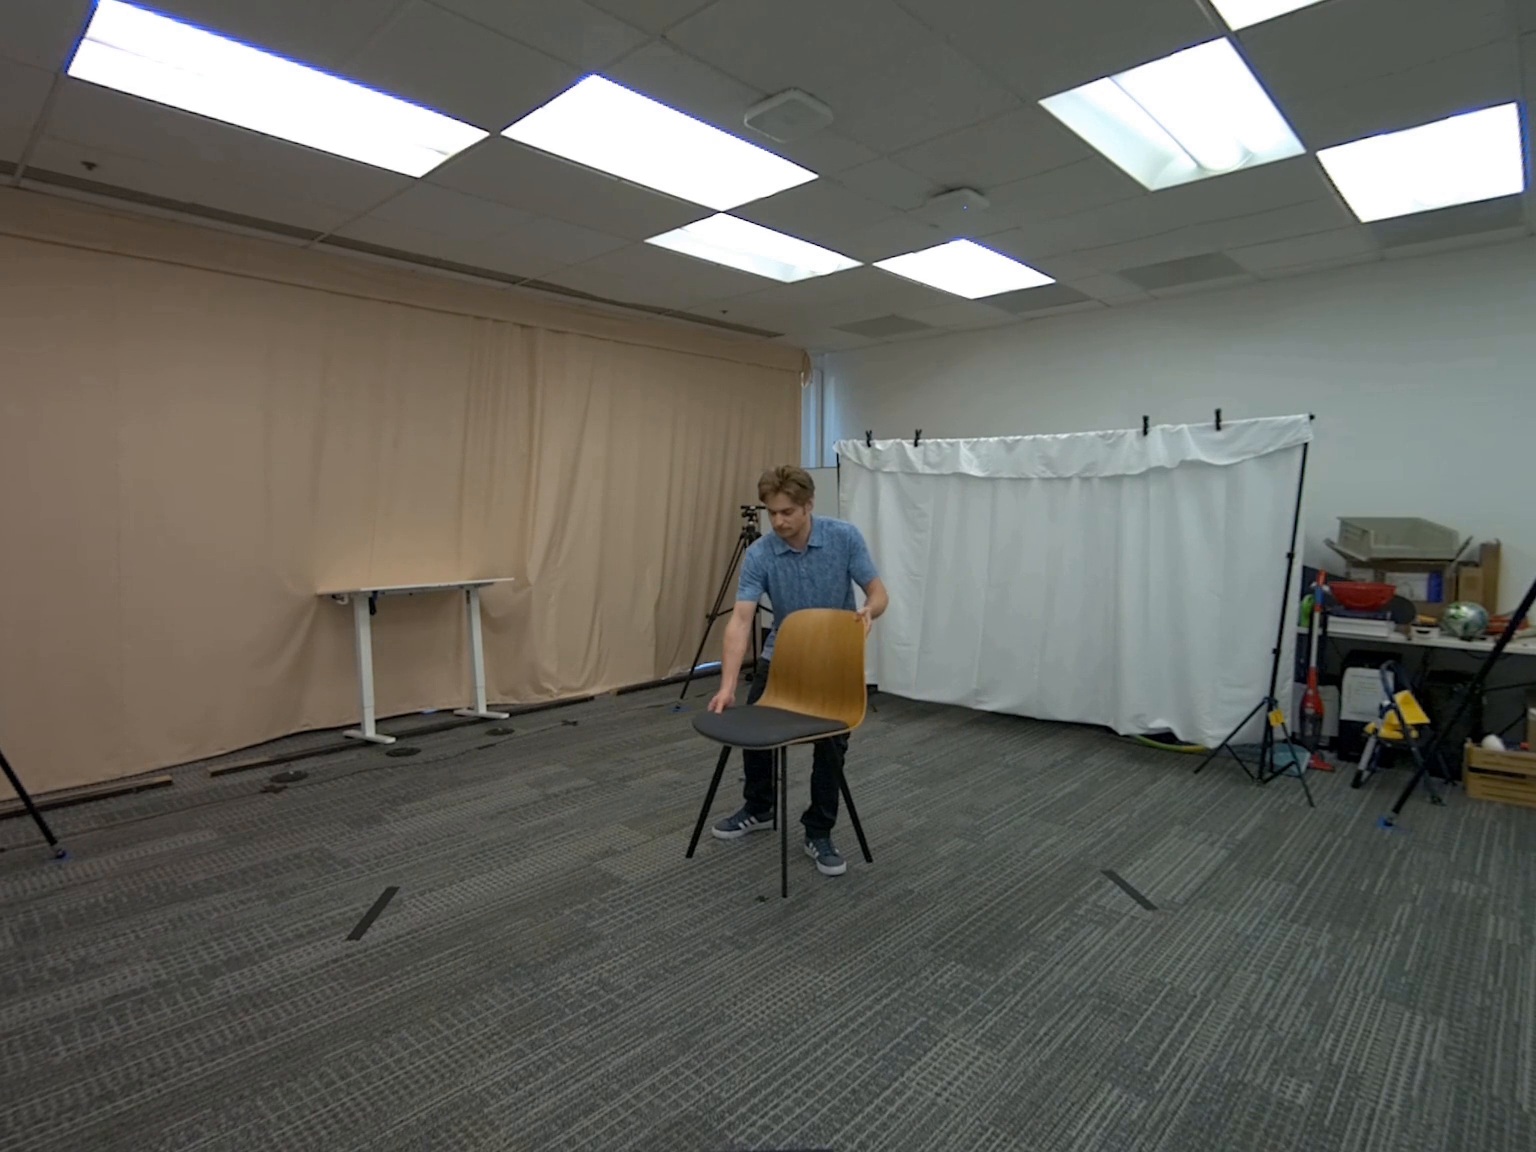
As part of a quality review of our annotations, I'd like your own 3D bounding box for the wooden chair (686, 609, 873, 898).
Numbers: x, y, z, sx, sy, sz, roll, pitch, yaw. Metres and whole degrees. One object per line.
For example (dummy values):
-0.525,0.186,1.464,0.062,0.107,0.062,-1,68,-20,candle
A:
0.050,0.546,2.849,0.494,0.879,0.505,1,-3,44,wooden chair
